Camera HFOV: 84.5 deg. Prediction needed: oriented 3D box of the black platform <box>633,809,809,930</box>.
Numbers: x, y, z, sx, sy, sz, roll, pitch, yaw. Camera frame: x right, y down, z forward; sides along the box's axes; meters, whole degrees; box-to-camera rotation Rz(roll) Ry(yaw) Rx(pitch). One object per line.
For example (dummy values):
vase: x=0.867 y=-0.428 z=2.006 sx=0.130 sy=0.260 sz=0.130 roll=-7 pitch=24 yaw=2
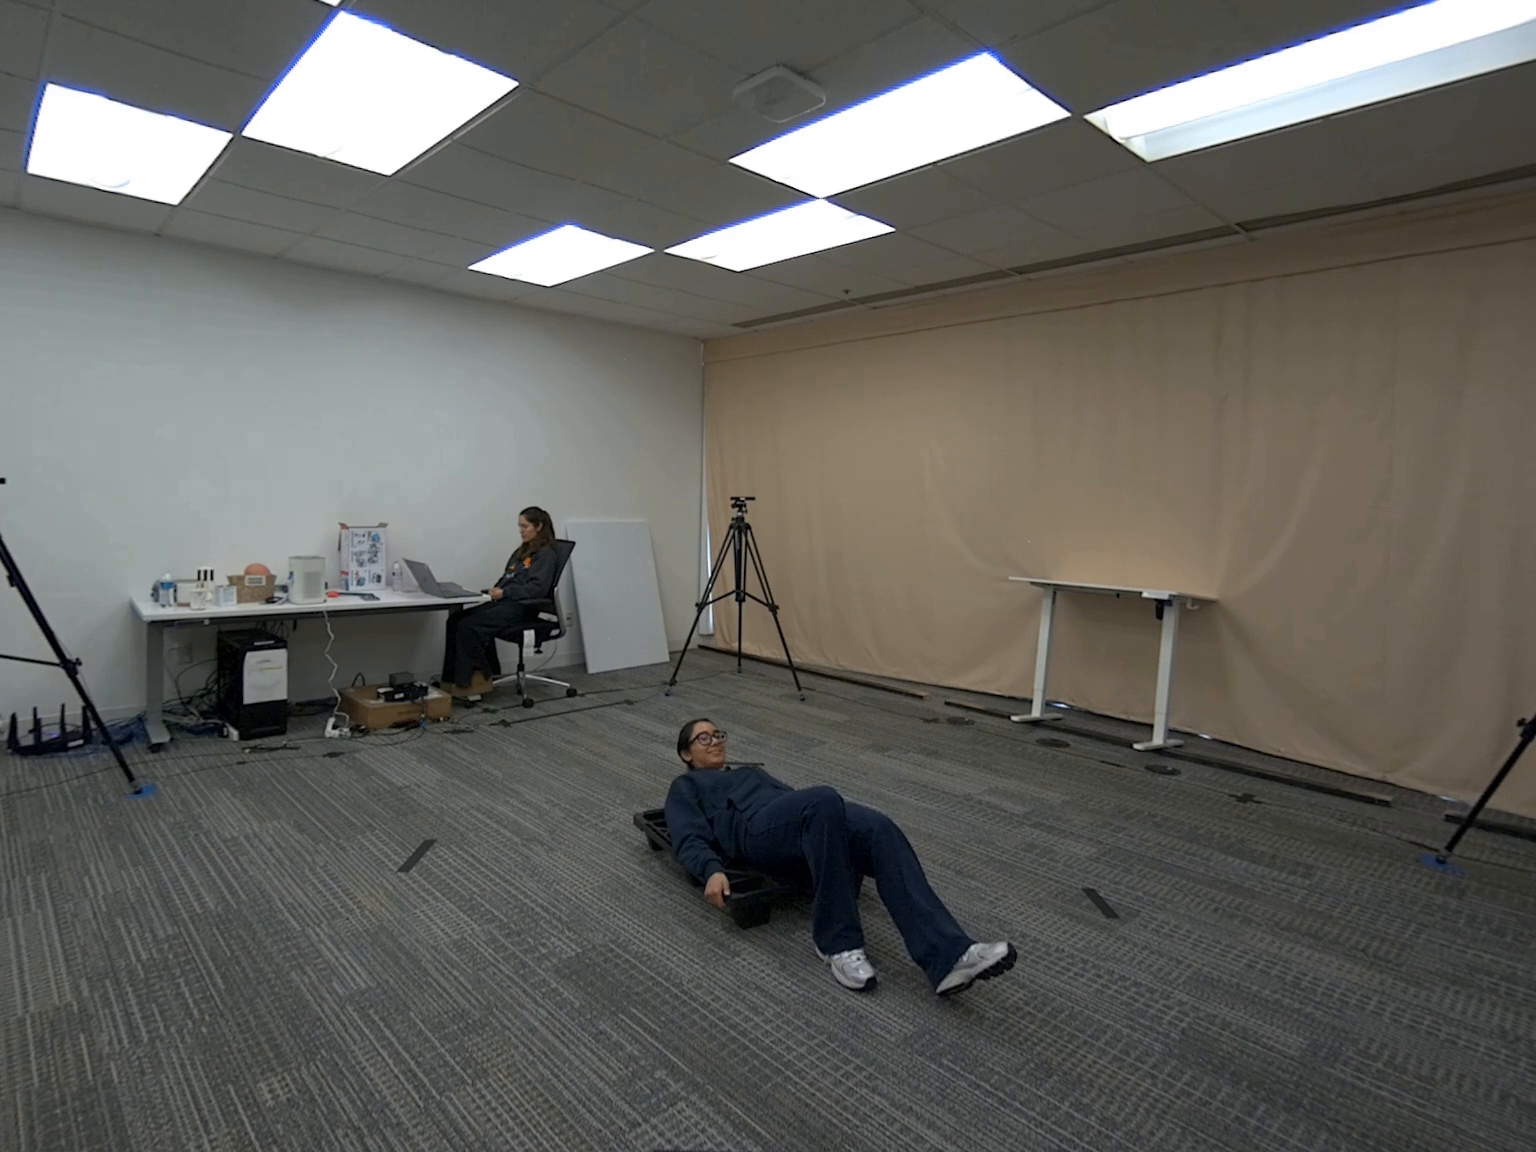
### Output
black platform: x=-0.081 y=1.037 z=3.153 sx=0.593 sy=0.143 sz=0.824 roll=-2 pitch=6 yaw=-31
